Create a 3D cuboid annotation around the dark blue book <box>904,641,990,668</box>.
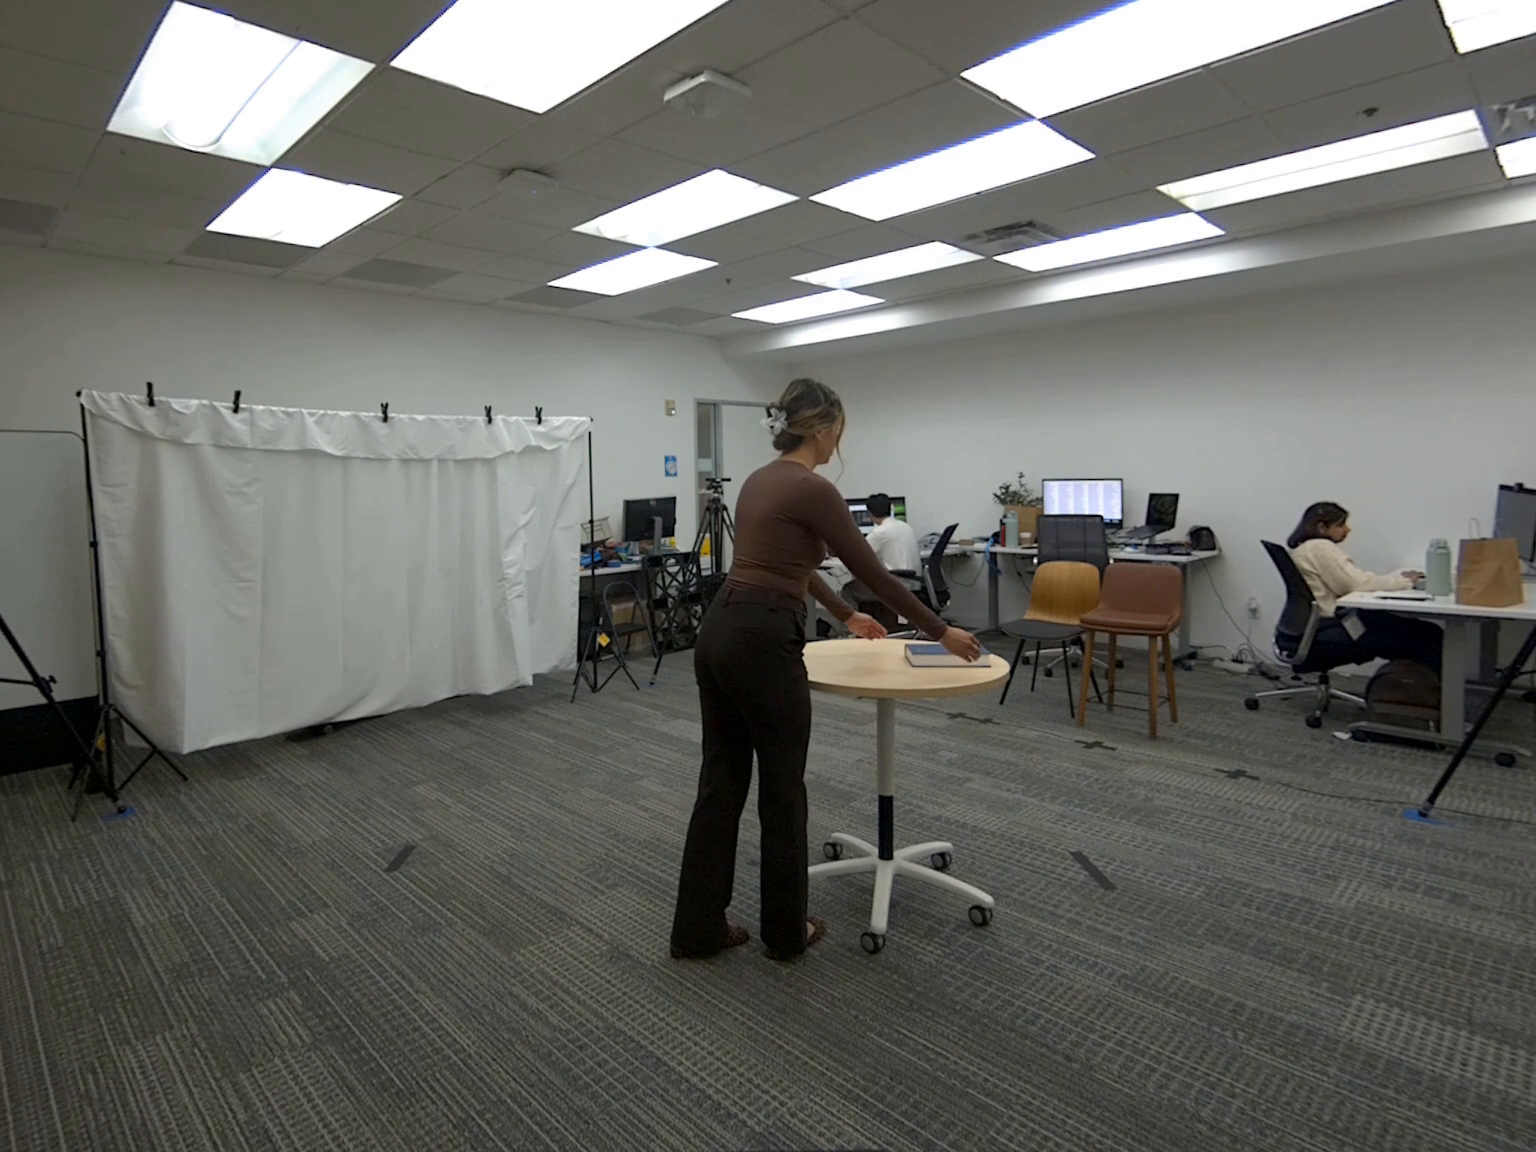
[{"bbox_3d":[0.588,0.255,2.747,0.246,0.045,0.163,-1,6,3],"label":"dark blue book"}]
